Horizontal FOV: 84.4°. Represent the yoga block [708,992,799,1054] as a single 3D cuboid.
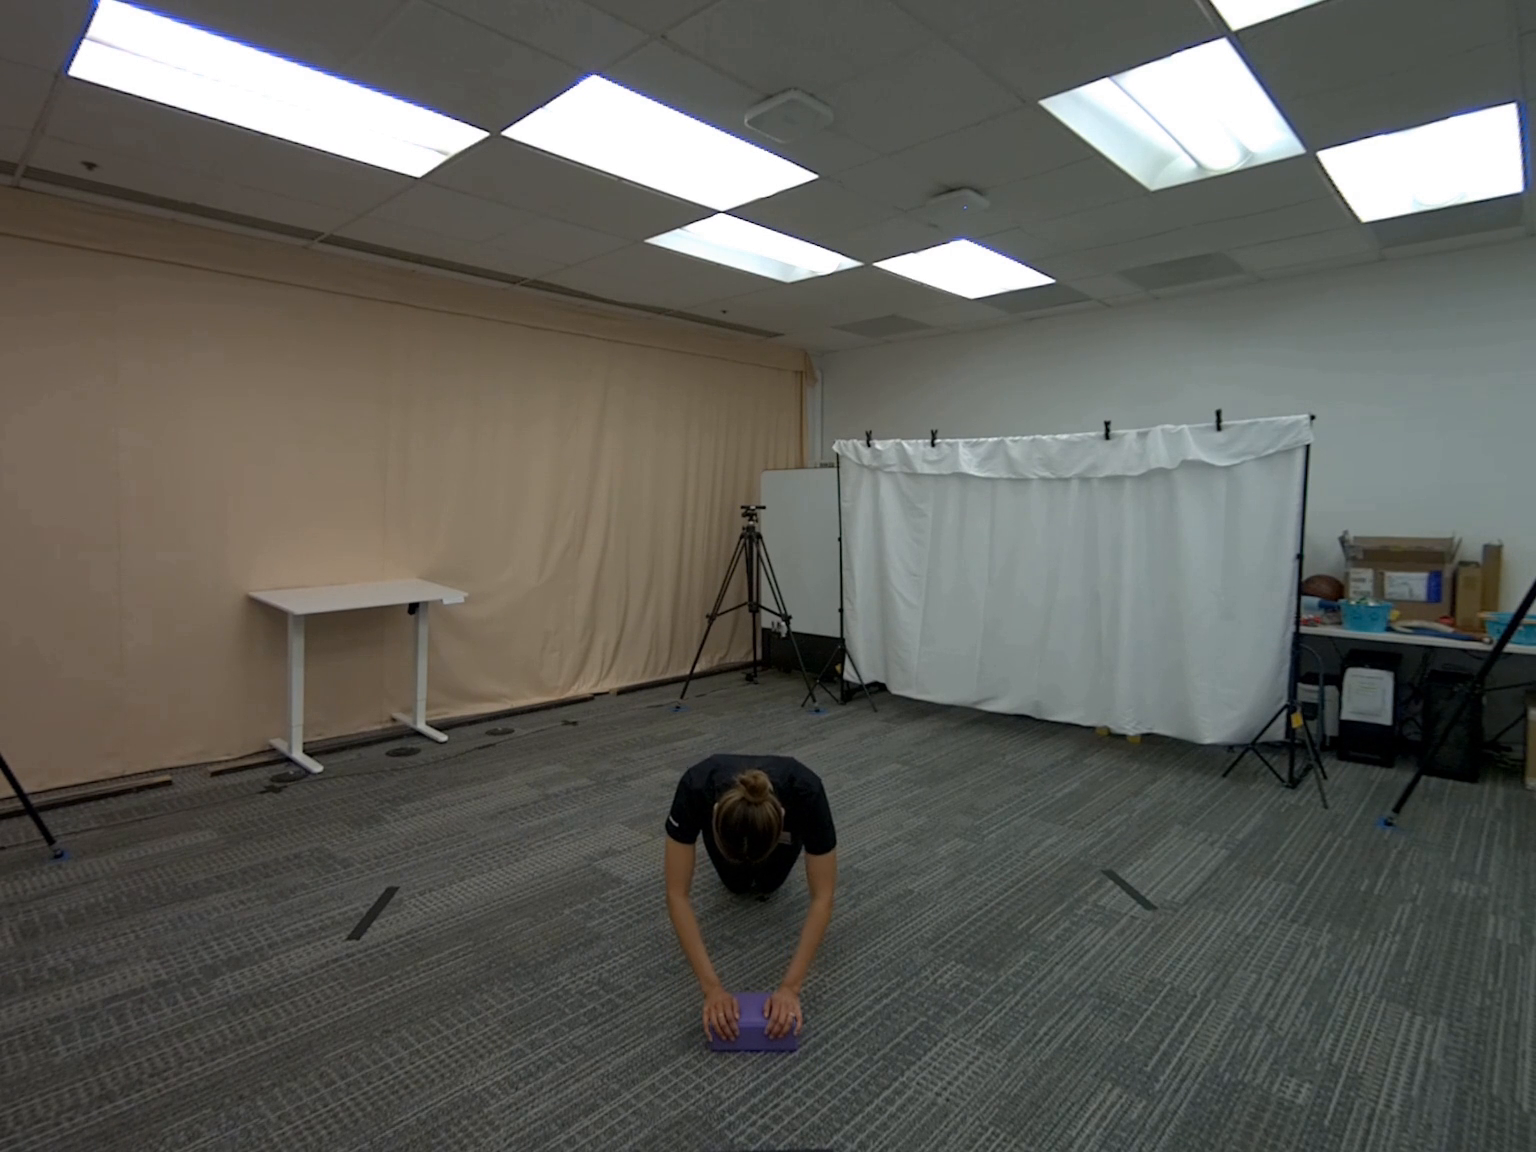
[{"bbox_3d":[-0.041,1.159,2.220,0.229,0.076,0.150,-2,8,-1],"label":"yoga block"}]
